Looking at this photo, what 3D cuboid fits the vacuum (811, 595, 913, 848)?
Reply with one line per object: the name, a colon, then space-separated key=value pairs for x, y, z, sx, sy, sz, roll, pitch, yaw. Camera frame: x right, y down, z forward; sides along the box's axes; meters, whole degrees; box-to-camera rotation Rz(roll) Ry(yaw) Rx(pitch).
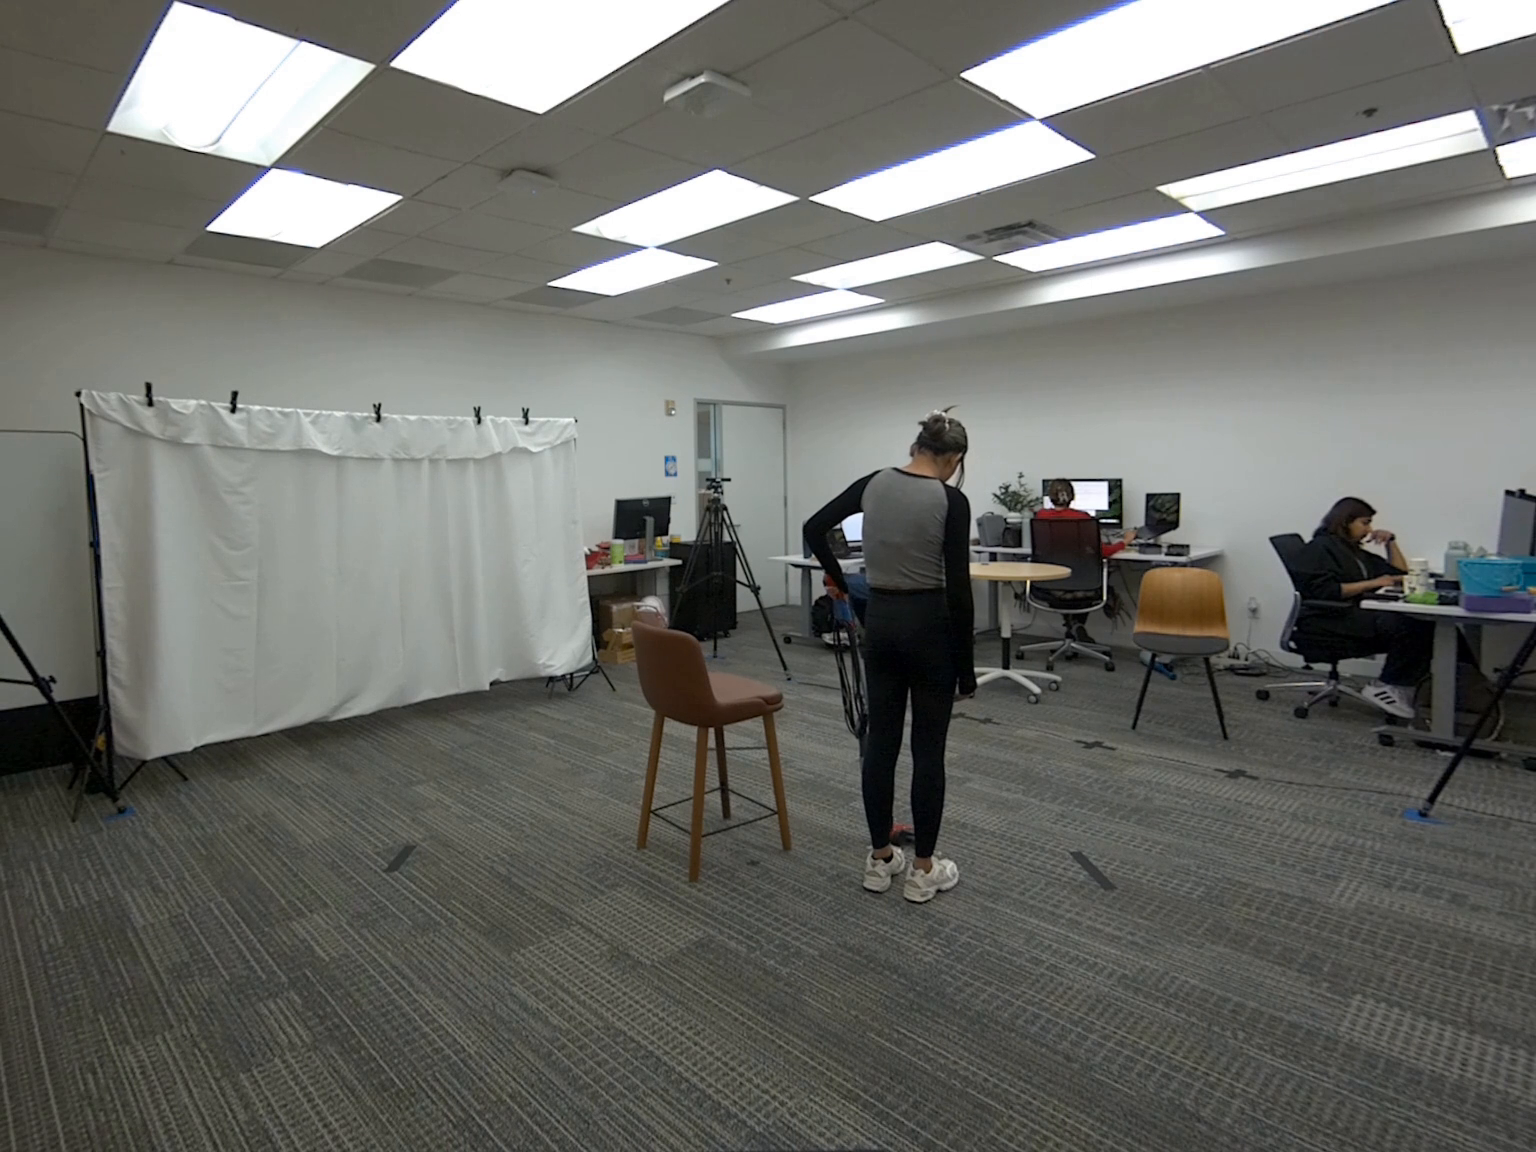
vacuum: x=0.356 y=0.523 z=3.234 sx=0.259 sy=1.041 sz=0.141 roll=-9 pitch=10 yaw=43
